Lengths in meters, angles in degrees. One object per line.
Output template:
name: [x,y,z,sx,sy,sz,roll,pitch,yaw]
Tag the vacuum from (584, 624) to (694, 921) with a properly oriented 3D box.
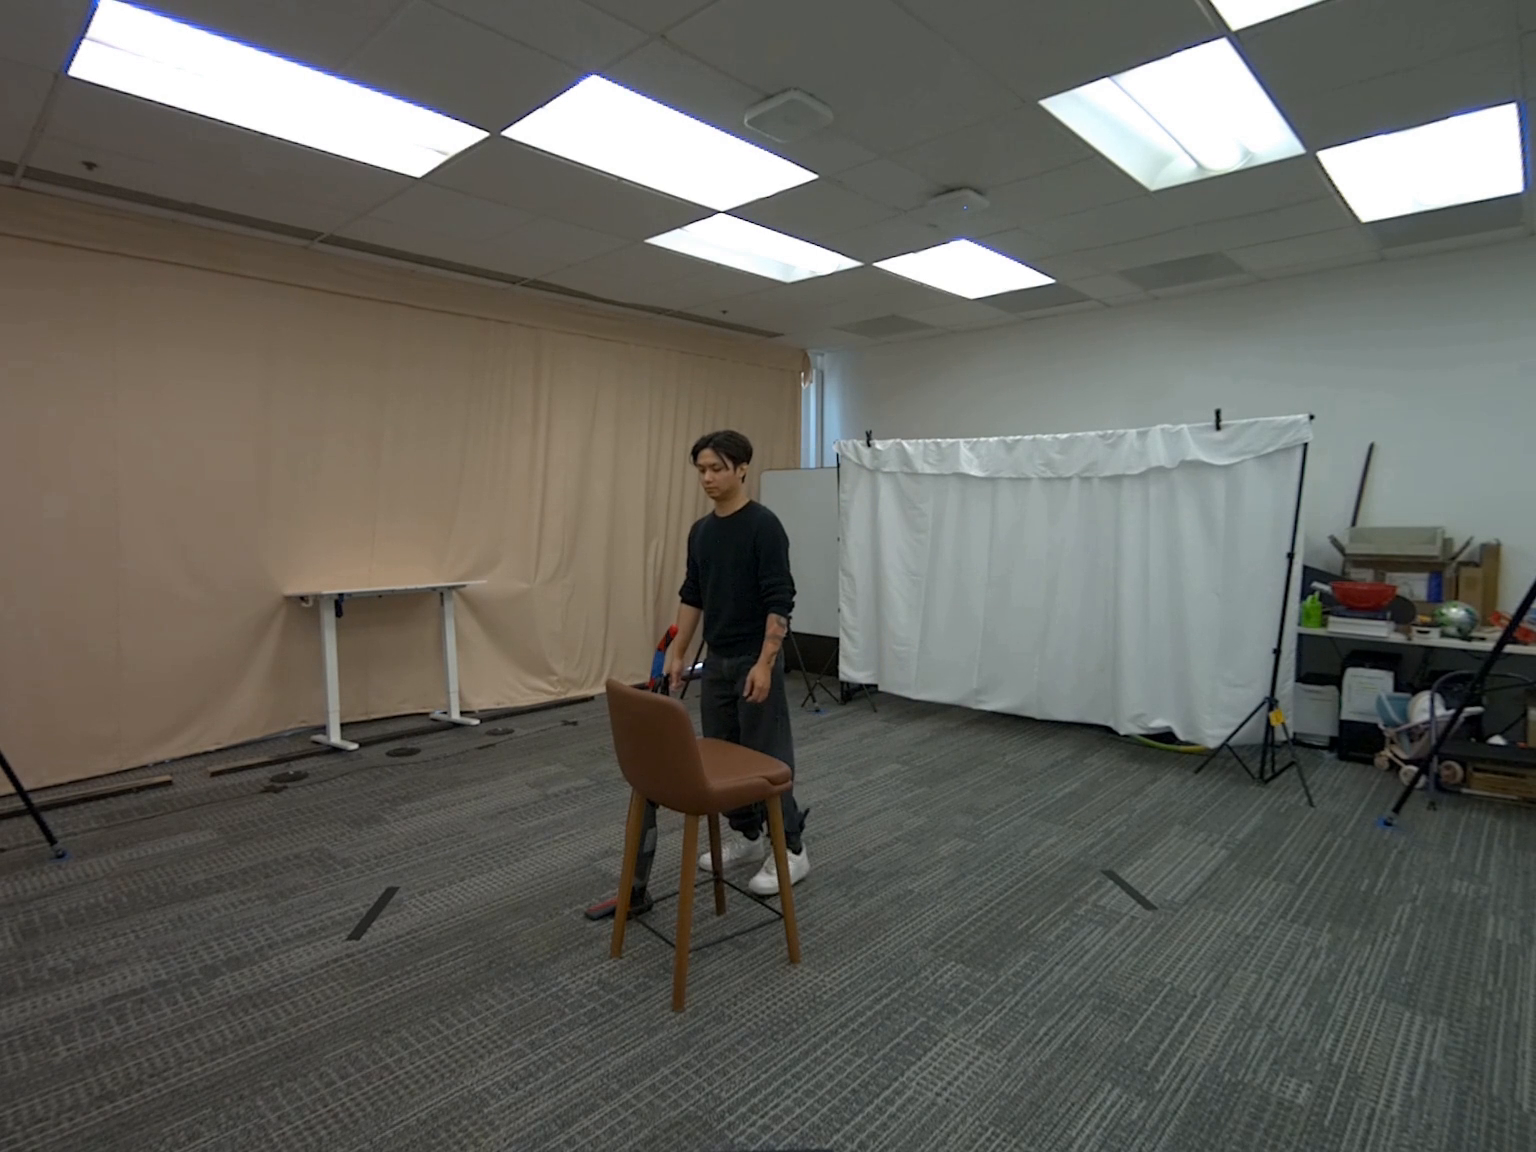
vacuum: [-0.402,0.660,2.762,0.245,1.043,0.149,-4,20,-45]
